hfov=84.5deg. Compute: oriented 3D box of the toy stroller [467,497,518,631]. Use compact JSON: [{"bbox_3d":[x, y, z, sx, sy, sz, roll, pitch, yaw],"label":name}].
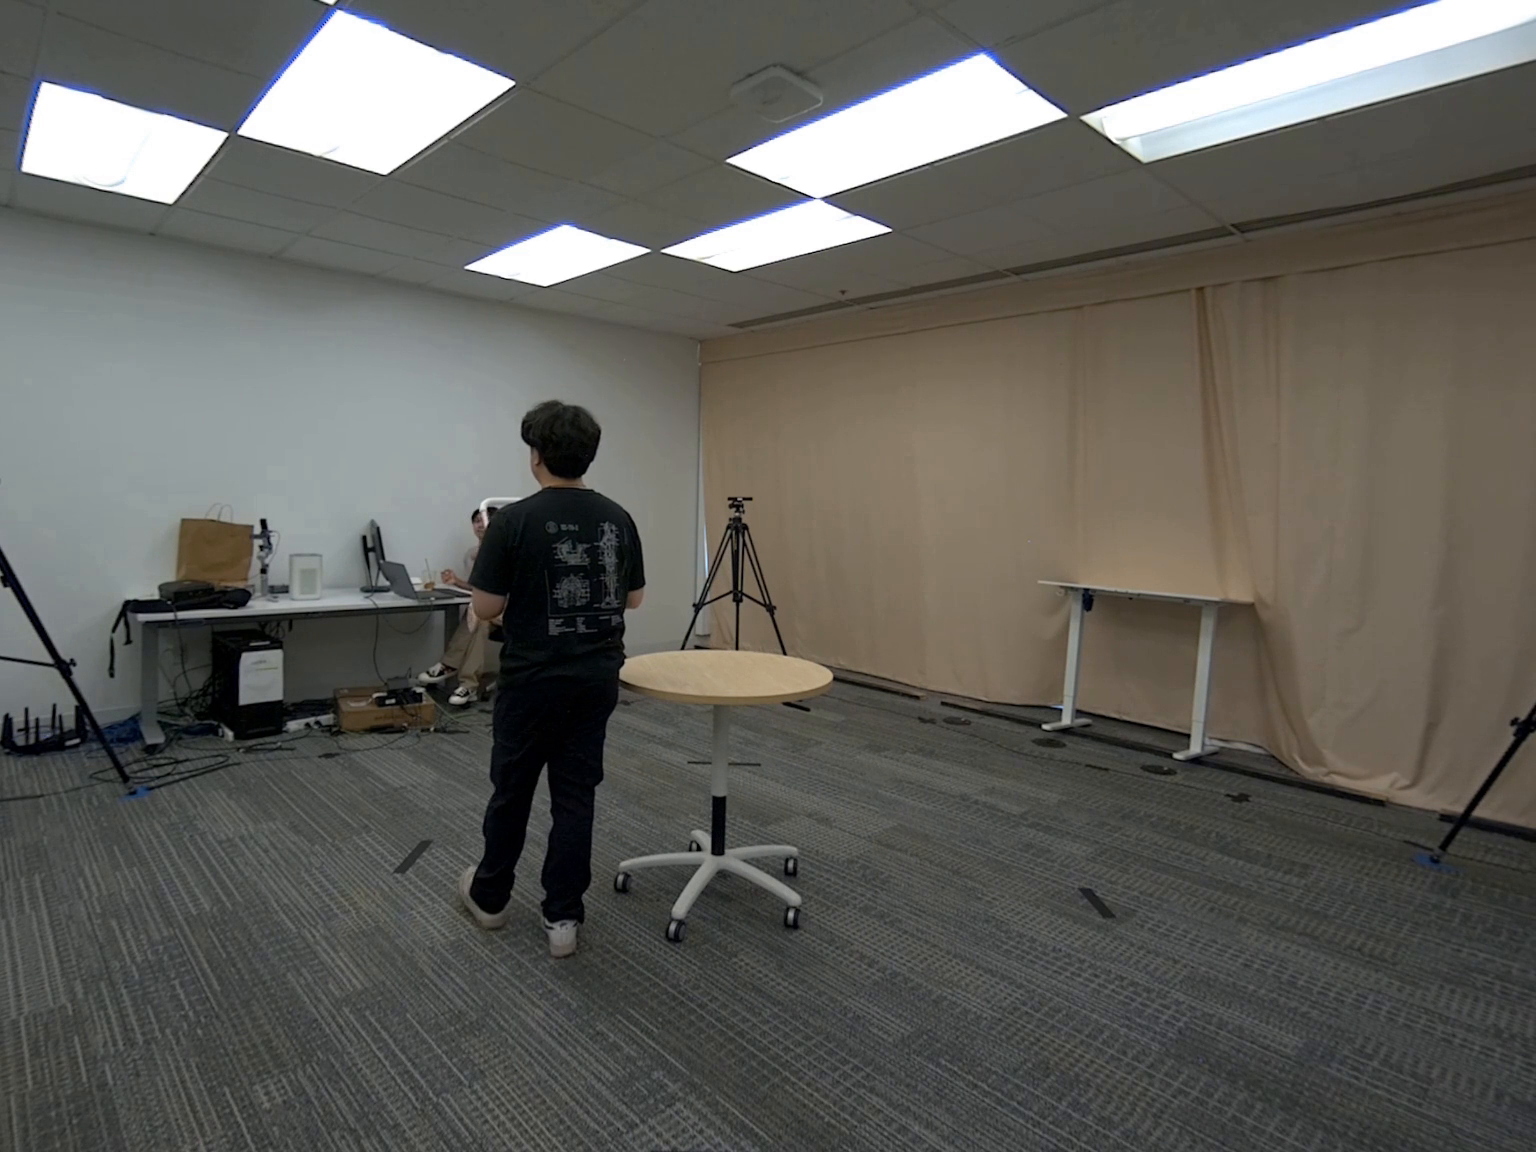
[{"bbox_3d":[-0.869,-0.004,2.898,0.275,0.535,0.348,1,-1,-31],"label":"toy stroller"}]
